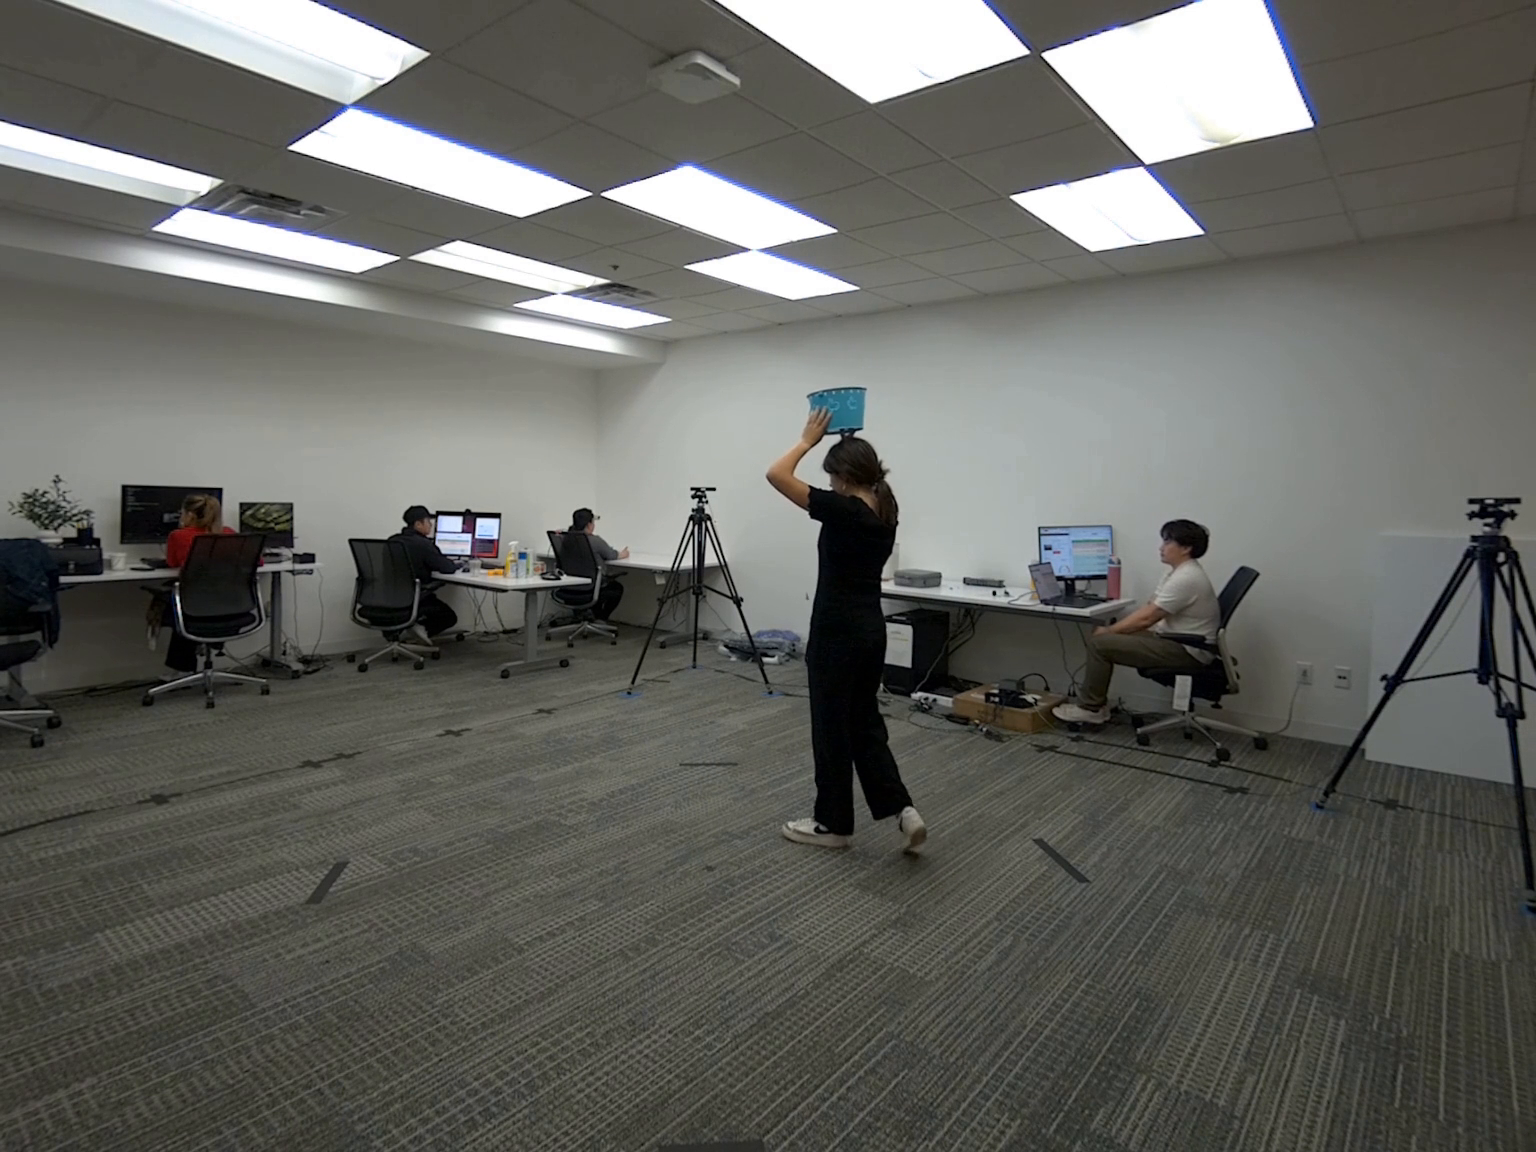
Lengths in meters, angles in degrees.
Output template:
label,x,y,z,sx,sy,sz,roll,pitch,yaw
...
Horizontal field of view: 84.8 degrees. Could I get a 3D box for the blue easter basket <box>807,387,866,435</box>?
label,x,y,z,sx,sy,sz,roll,pitch,yaw
blue easter basket,0.282,-0.642,3.324,0.243,0.155,0.245,-4,6,-1
